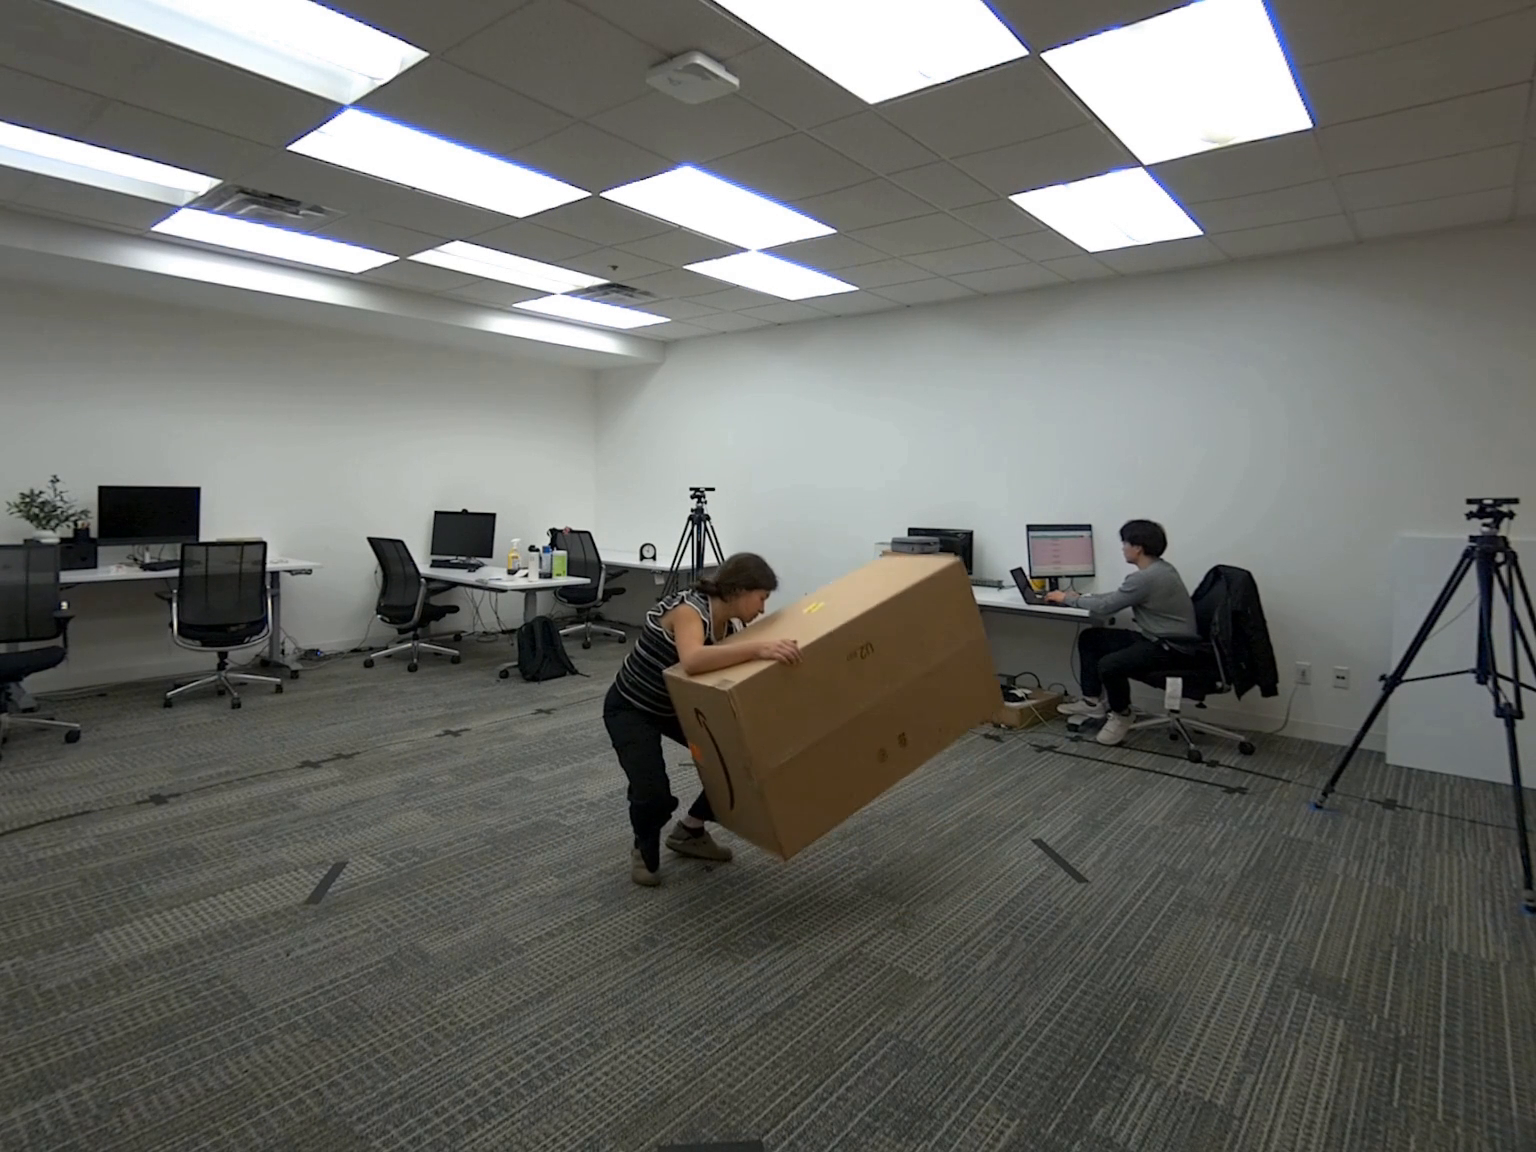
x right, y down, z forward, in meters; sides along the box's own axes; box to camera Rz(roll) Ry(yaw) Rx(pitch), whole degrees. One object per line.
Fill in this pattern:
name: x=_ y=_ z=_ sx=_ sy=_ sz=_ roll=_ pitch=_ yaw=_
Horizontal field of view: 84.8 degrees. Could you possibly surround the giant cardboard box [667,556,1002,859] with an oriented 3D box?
giant cardboard box: x=0.240 y=0.383 z=2.918 sx=1.011 sy=0.570 sz=0.438 roll=-26 pitch=14 yaw=-29
